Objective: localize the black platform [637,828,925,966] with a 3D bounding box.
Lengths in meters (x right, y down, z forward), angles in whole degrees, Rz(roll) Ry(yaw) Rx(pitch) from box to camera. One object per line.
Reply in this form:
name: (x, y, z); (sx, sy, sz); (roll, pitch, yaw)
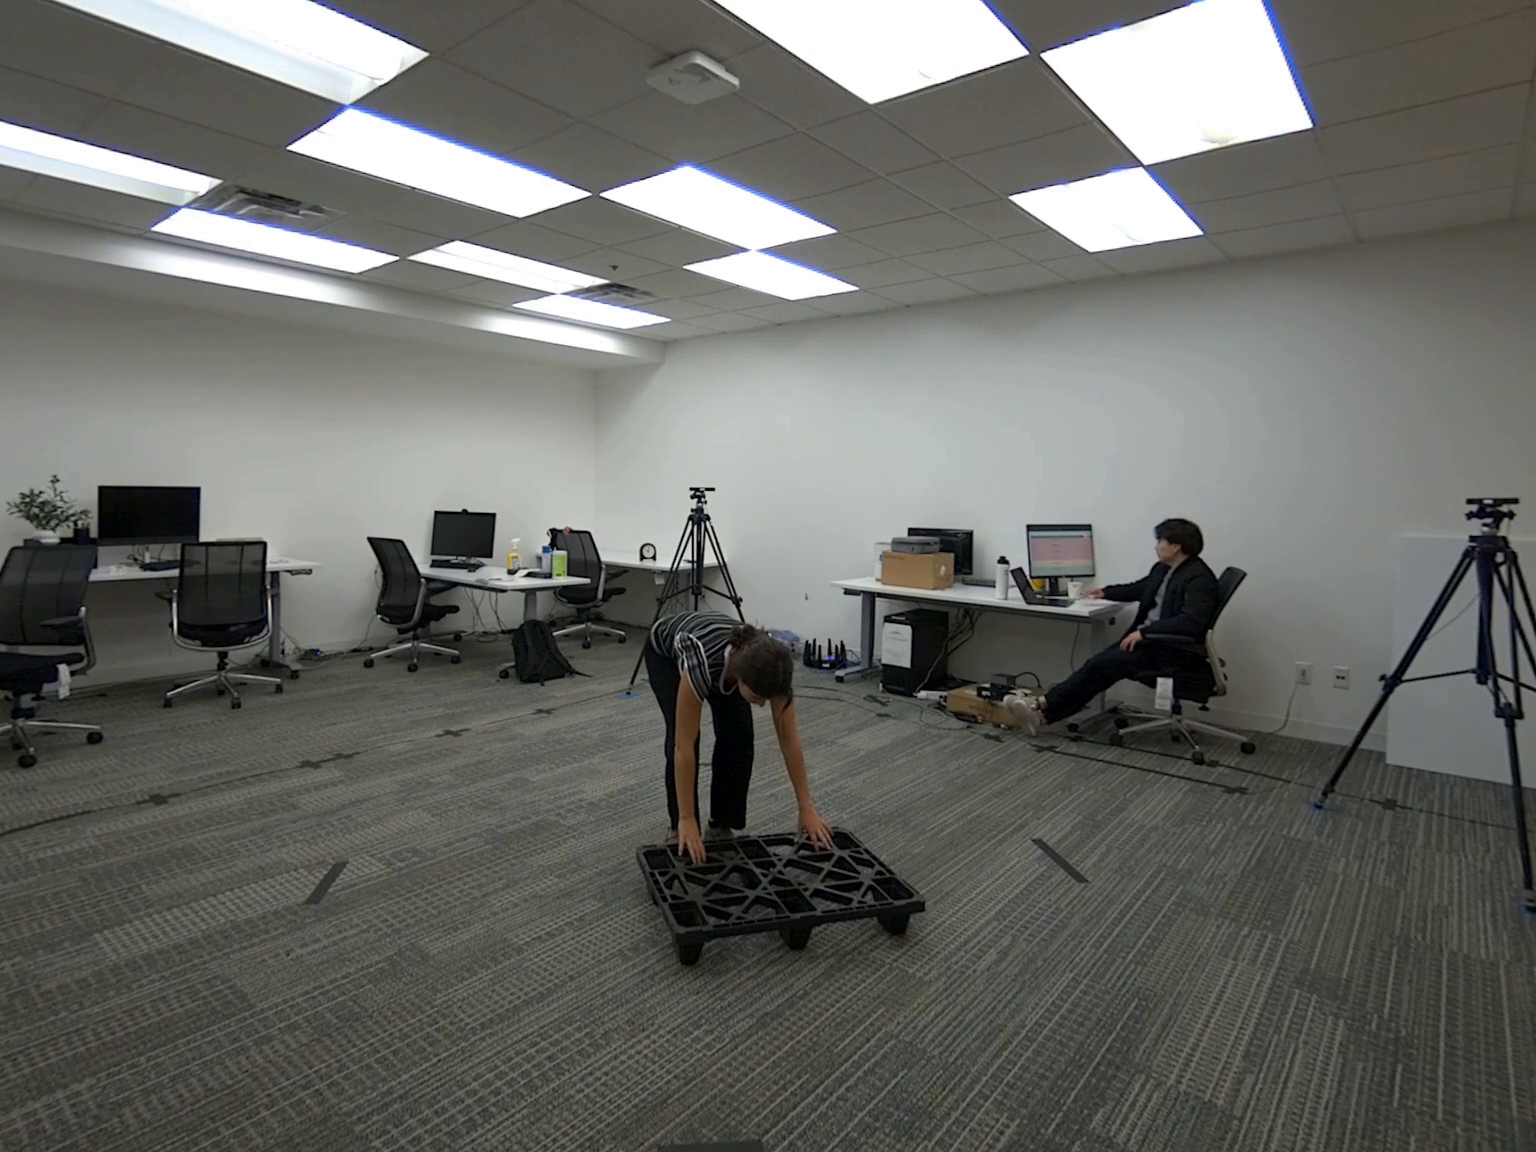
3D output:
black platform: (0.006, 1.032, 2.794); (0.791, 0.142, 0.619); (-1, 7, -18)
